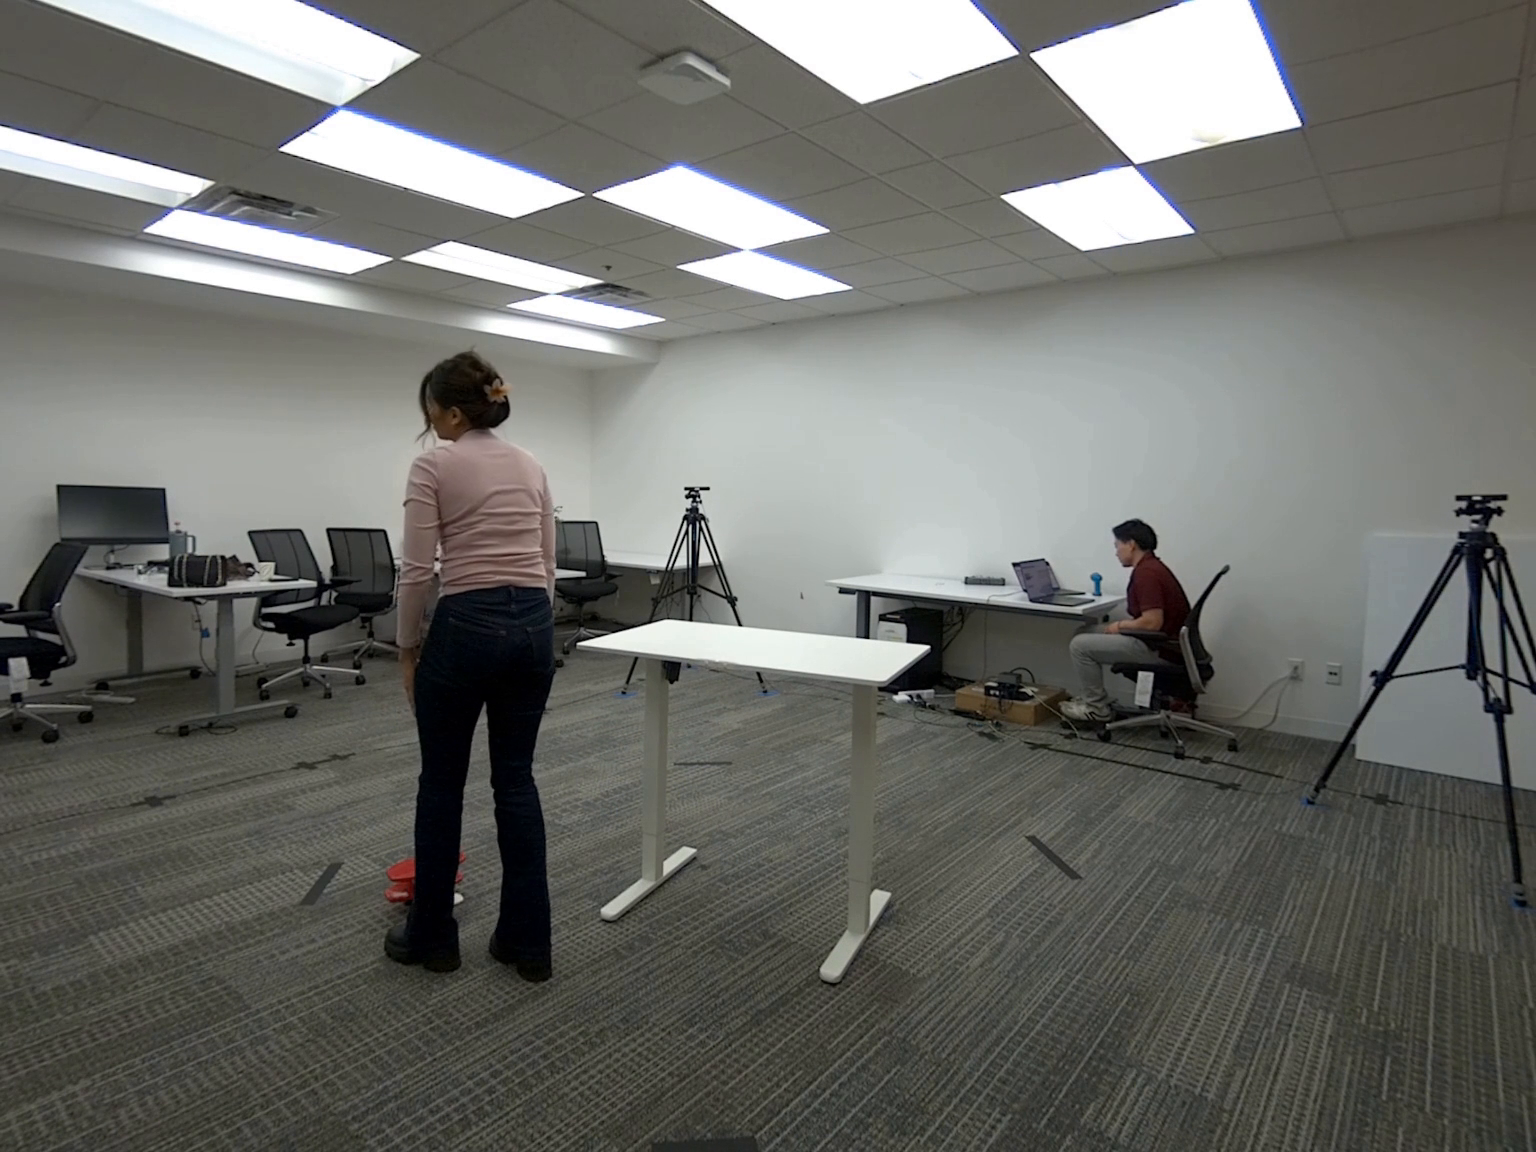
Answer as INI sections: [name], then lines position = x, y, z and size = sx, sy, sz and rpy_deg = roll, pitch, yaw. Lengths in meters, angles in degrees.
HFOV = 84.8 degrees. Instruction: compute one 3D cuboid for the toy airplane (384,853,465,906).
[toy airplane]
position = -1.103, 1.008, 2.807
size = 0.264, 0.156, 0.247
rpy_deg = 0, 4, 19
